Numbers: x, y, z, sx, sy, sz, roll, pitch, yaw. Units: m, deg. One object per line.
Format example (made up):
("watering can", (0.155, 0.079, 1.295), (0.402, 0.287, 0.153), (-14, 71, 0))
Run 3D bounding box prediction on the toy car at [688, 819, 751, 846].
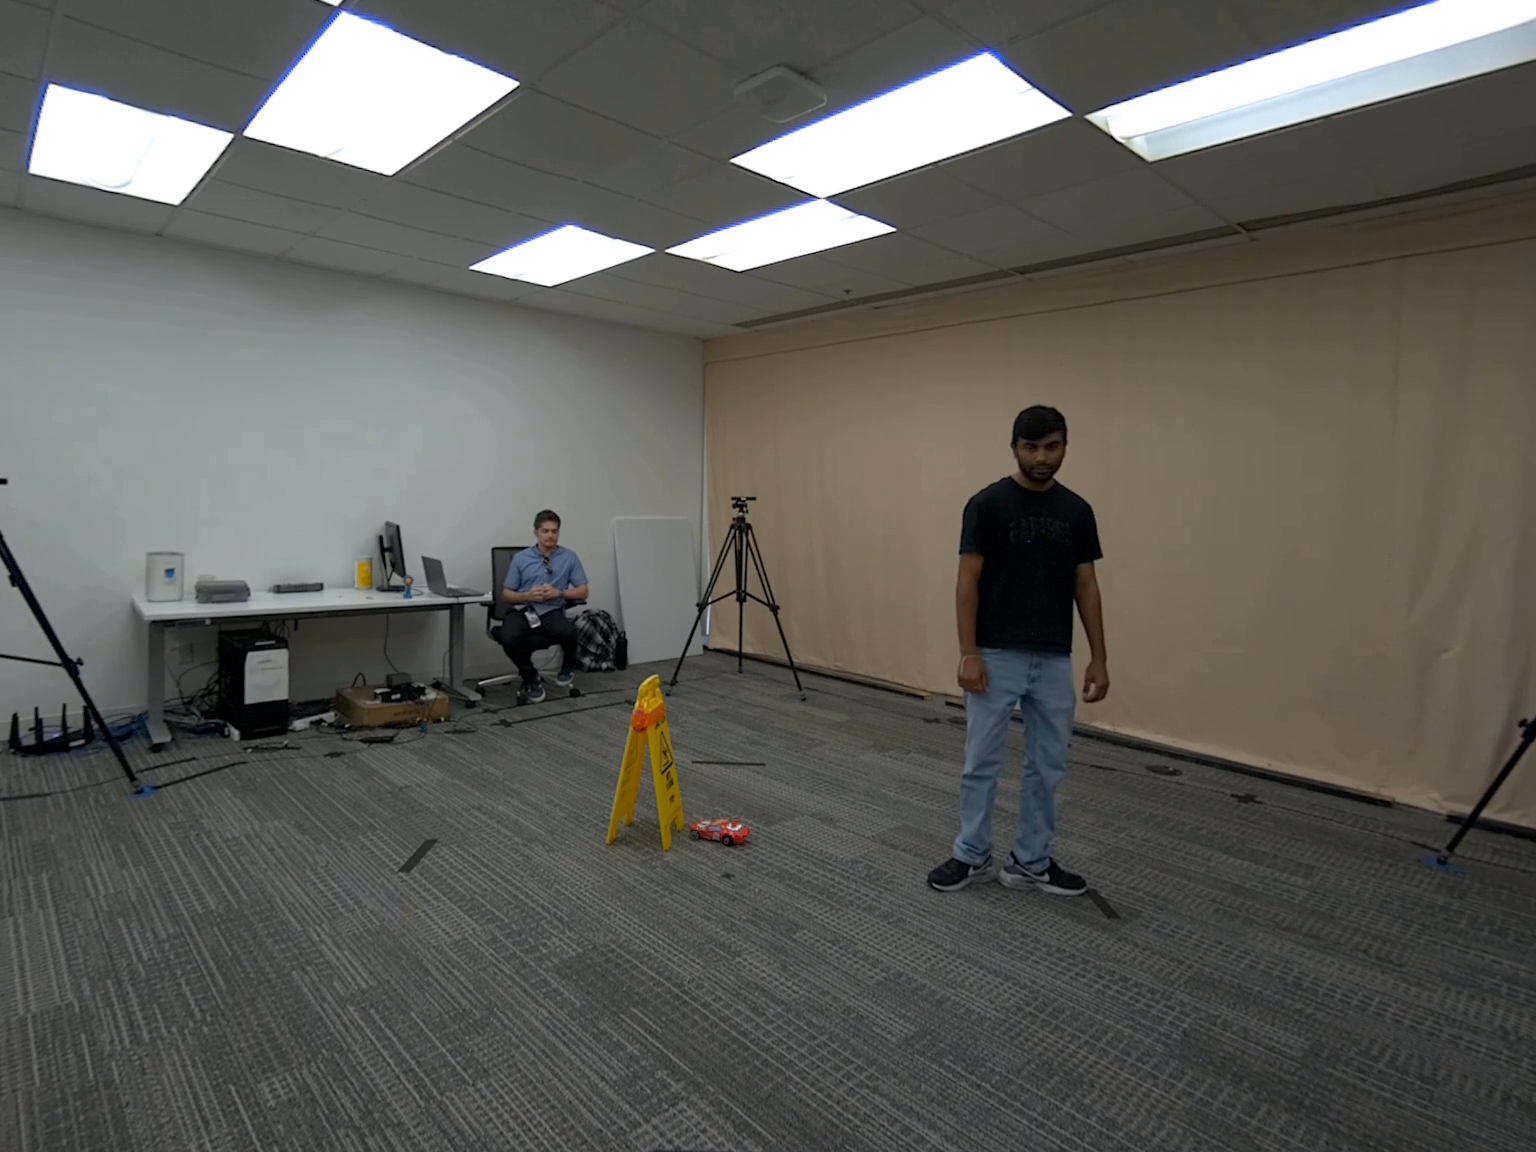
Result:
("toy car", (-0.203, 1.046, 3.433), (0.258, 0.083, 0.128), (-8, -1, 21))
